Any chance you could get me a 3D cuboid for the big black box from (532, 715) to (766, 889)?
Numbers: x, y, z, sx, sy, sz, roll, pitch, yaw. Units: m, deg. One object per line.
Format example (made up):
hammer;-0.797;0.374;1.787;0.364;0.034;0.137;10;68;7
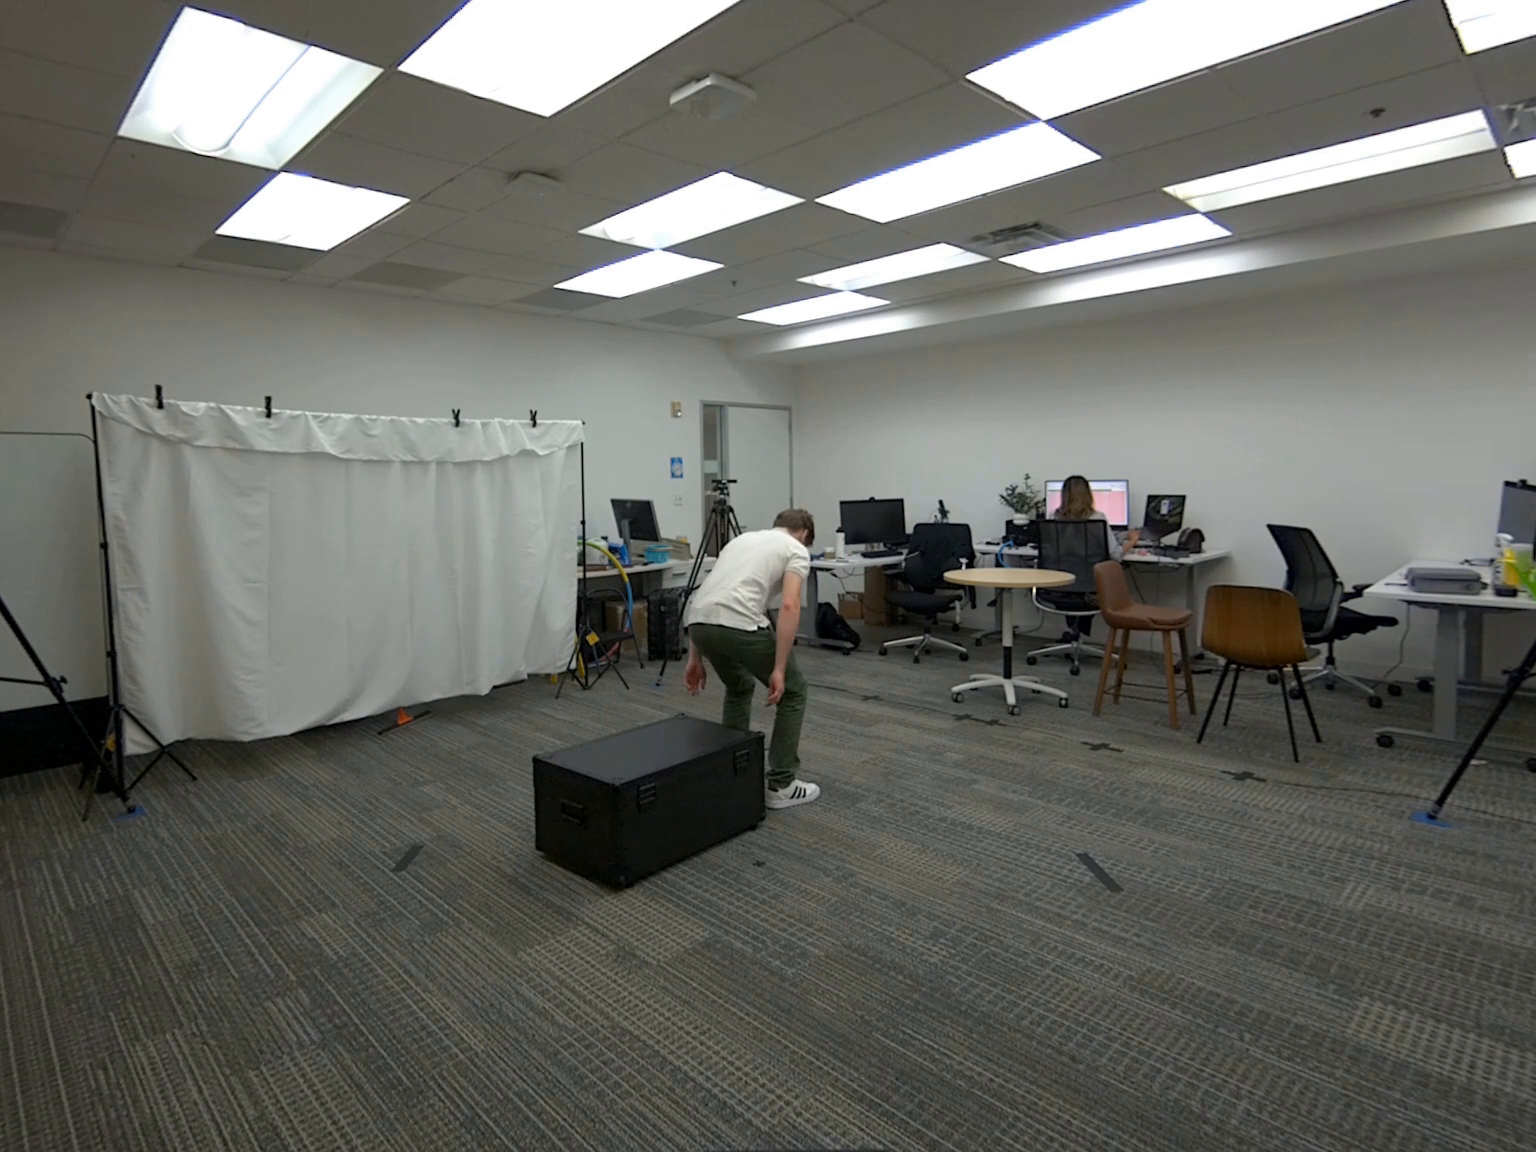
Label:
big black box;-0.416;0.831;3.344;0.539;0.384;0.846;2;6;41
